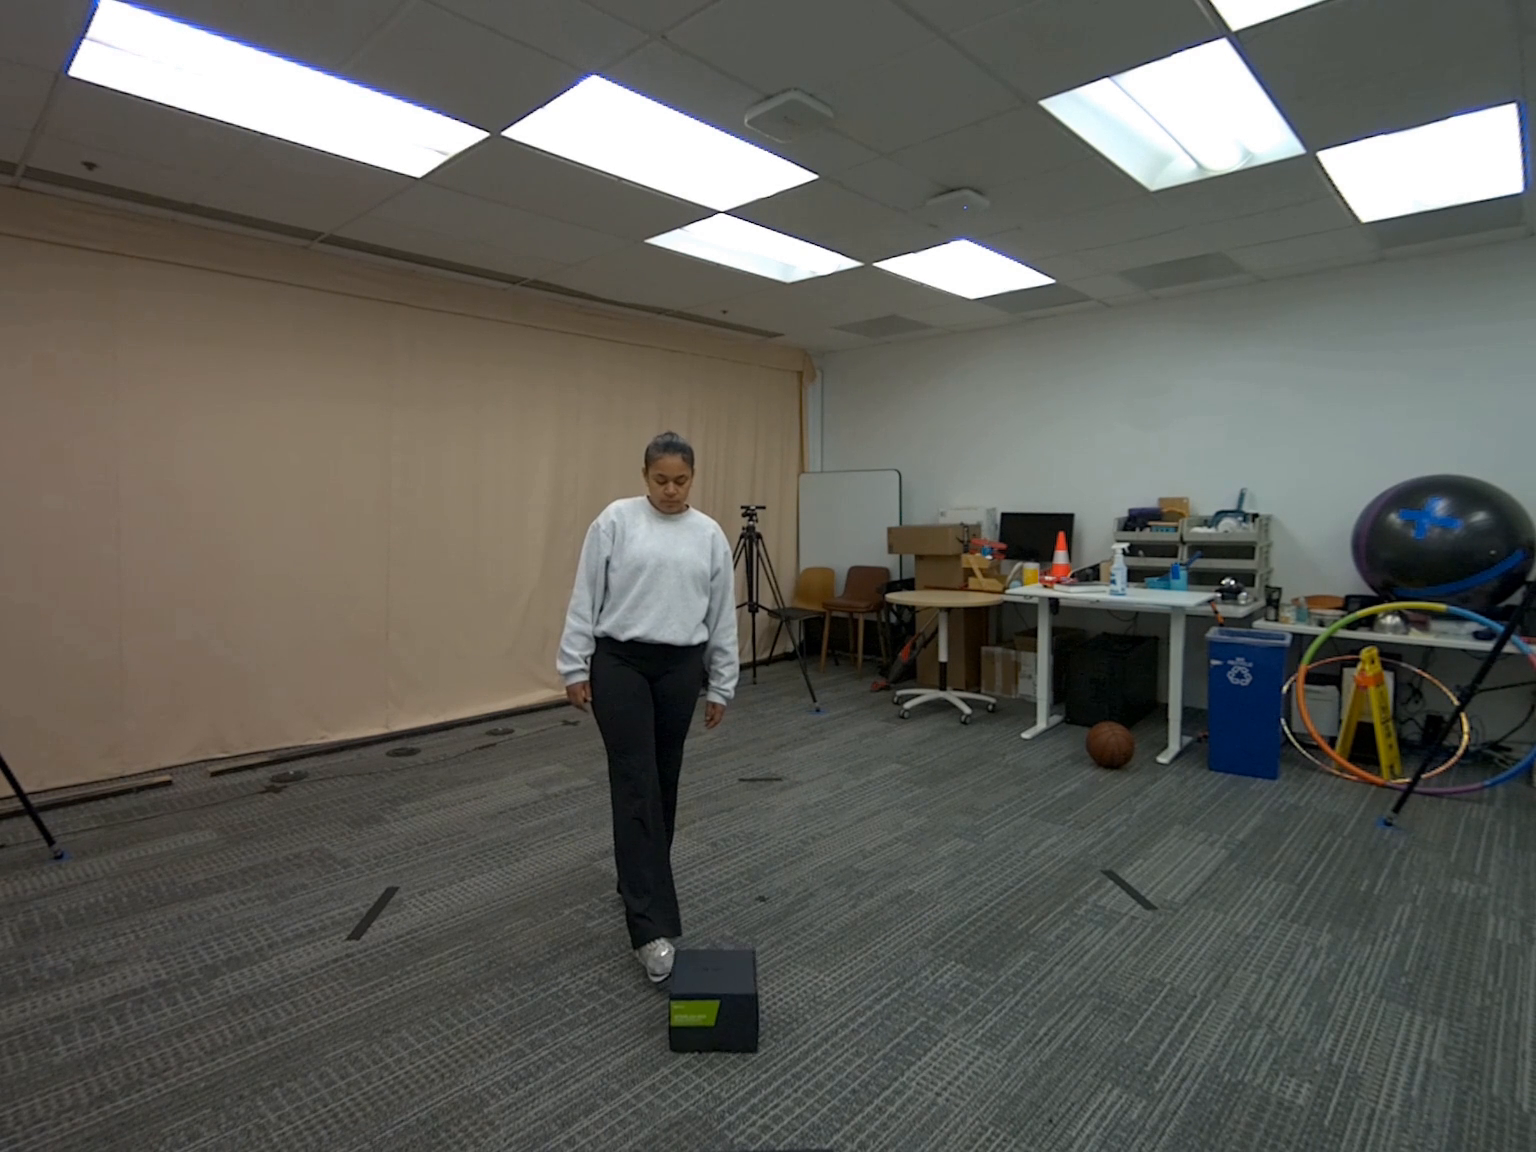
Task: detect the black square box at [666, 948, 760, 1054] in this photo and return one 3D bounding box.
[{"bbox_3d":[-0.153,1.122,2.245,0.228,0.155,0.217,-1,4,0],"label":"black square box"}]
